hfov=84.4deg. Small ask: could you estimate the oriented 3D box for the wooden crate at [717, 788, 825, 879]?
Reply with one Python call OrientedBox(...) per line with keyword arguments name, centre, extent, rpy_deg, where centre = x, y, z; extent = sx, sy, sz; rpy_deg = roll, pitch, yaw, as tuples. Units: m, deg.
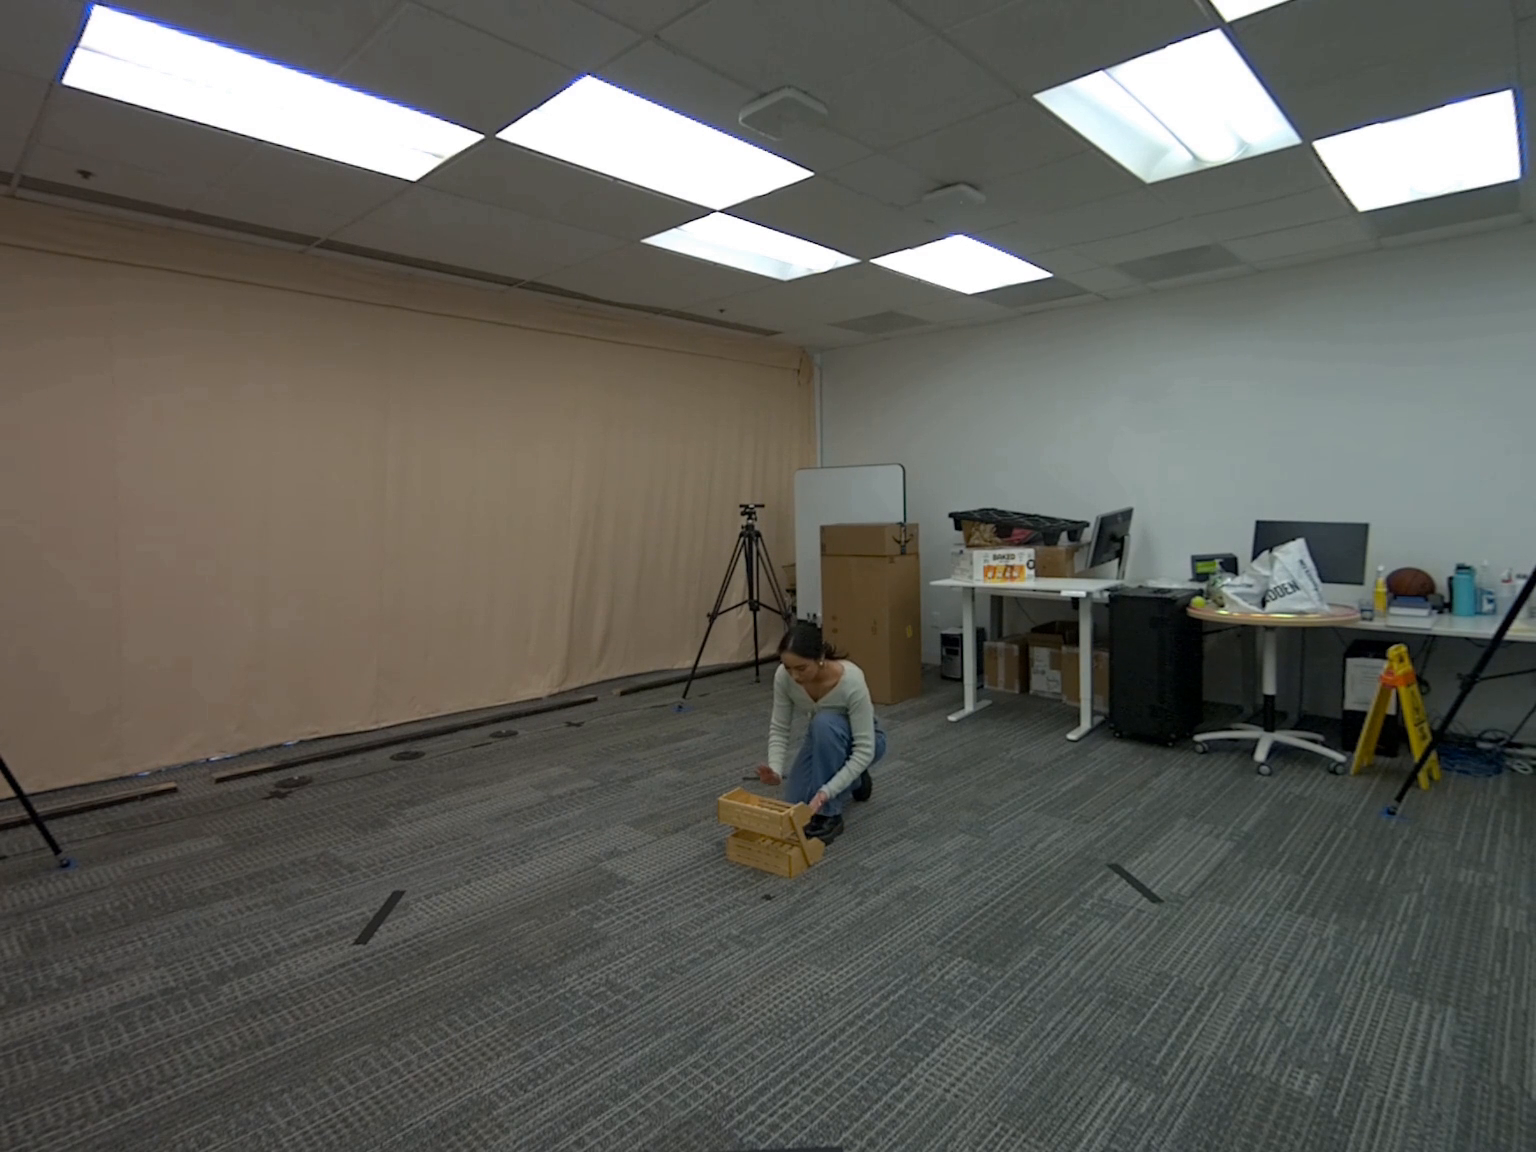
OrientedBox(name="wooden crate", centre=(0.016, 0.977, 3.288), extent=(0.335, 0.272, 0.293), rpy_deg=(2, 6, 36))
